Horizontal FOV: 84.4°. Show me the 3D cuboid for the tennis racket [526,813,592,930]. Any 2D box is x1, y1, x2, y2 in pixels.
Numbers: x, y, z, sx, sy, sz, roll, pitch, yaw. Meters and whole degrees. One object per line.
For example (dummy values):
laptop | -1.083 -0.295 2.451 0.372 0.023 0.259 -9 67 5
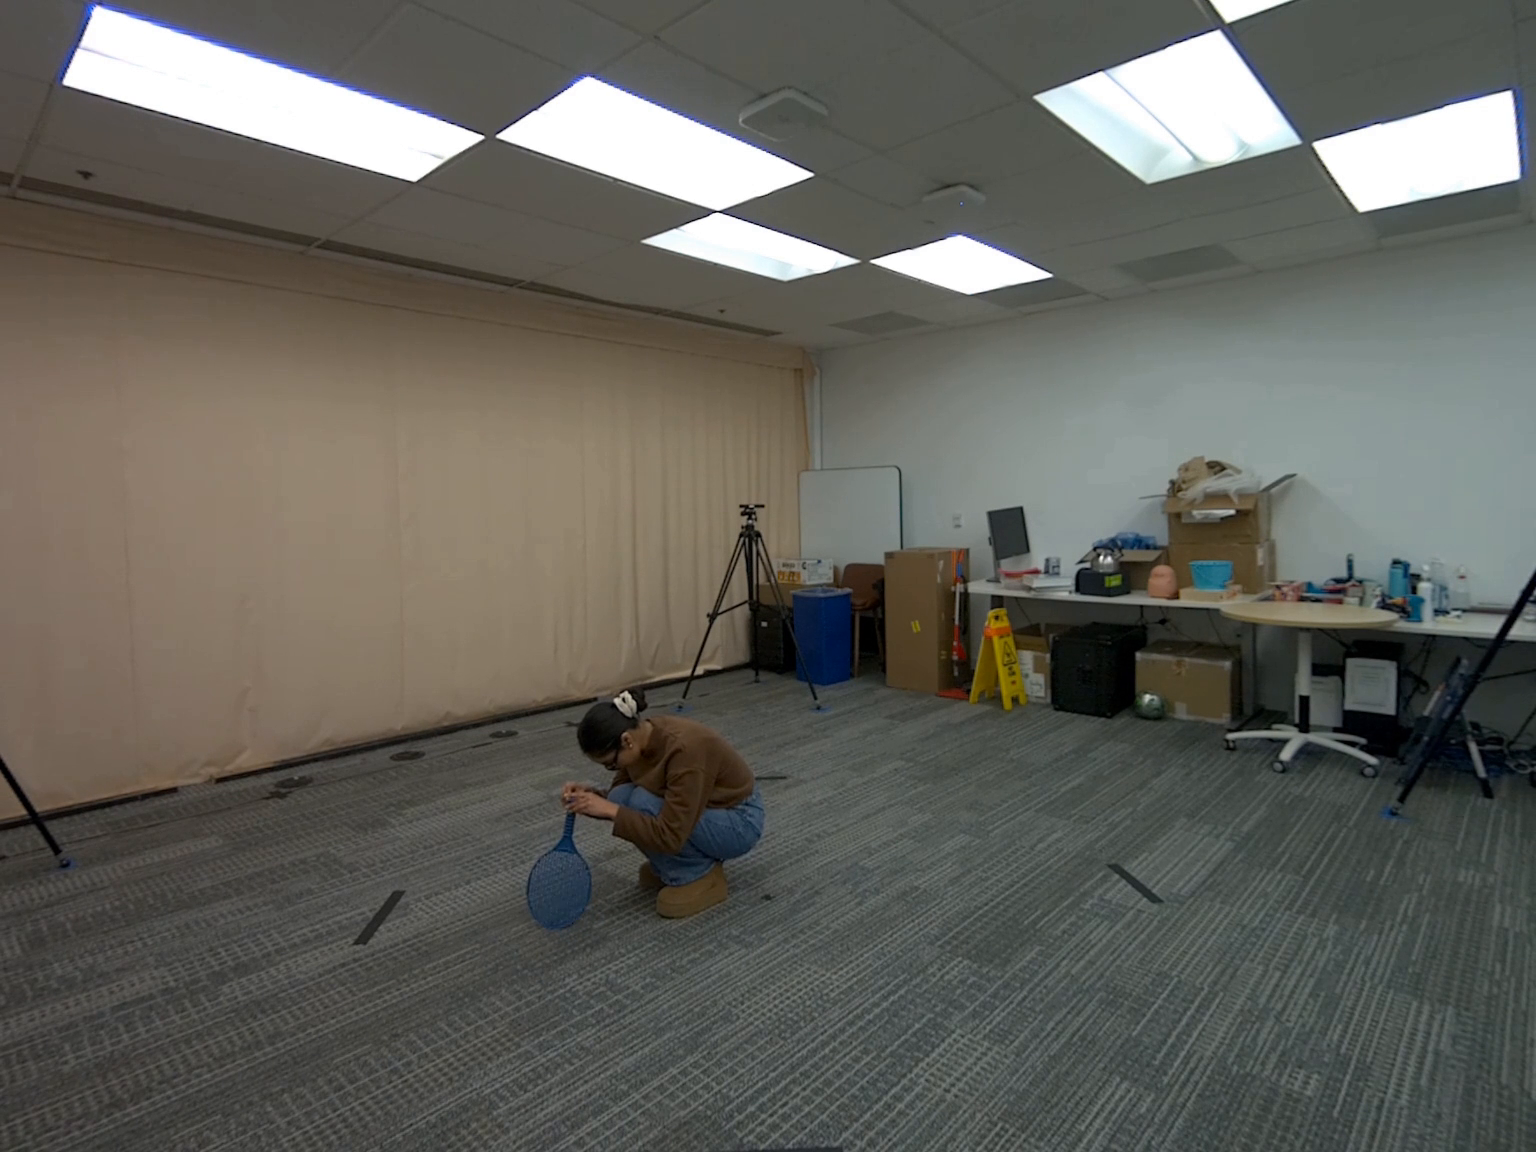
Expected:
tennis racket | -0.677 0.963 2.804 0.212 0.433 0.032 14 0 -5
